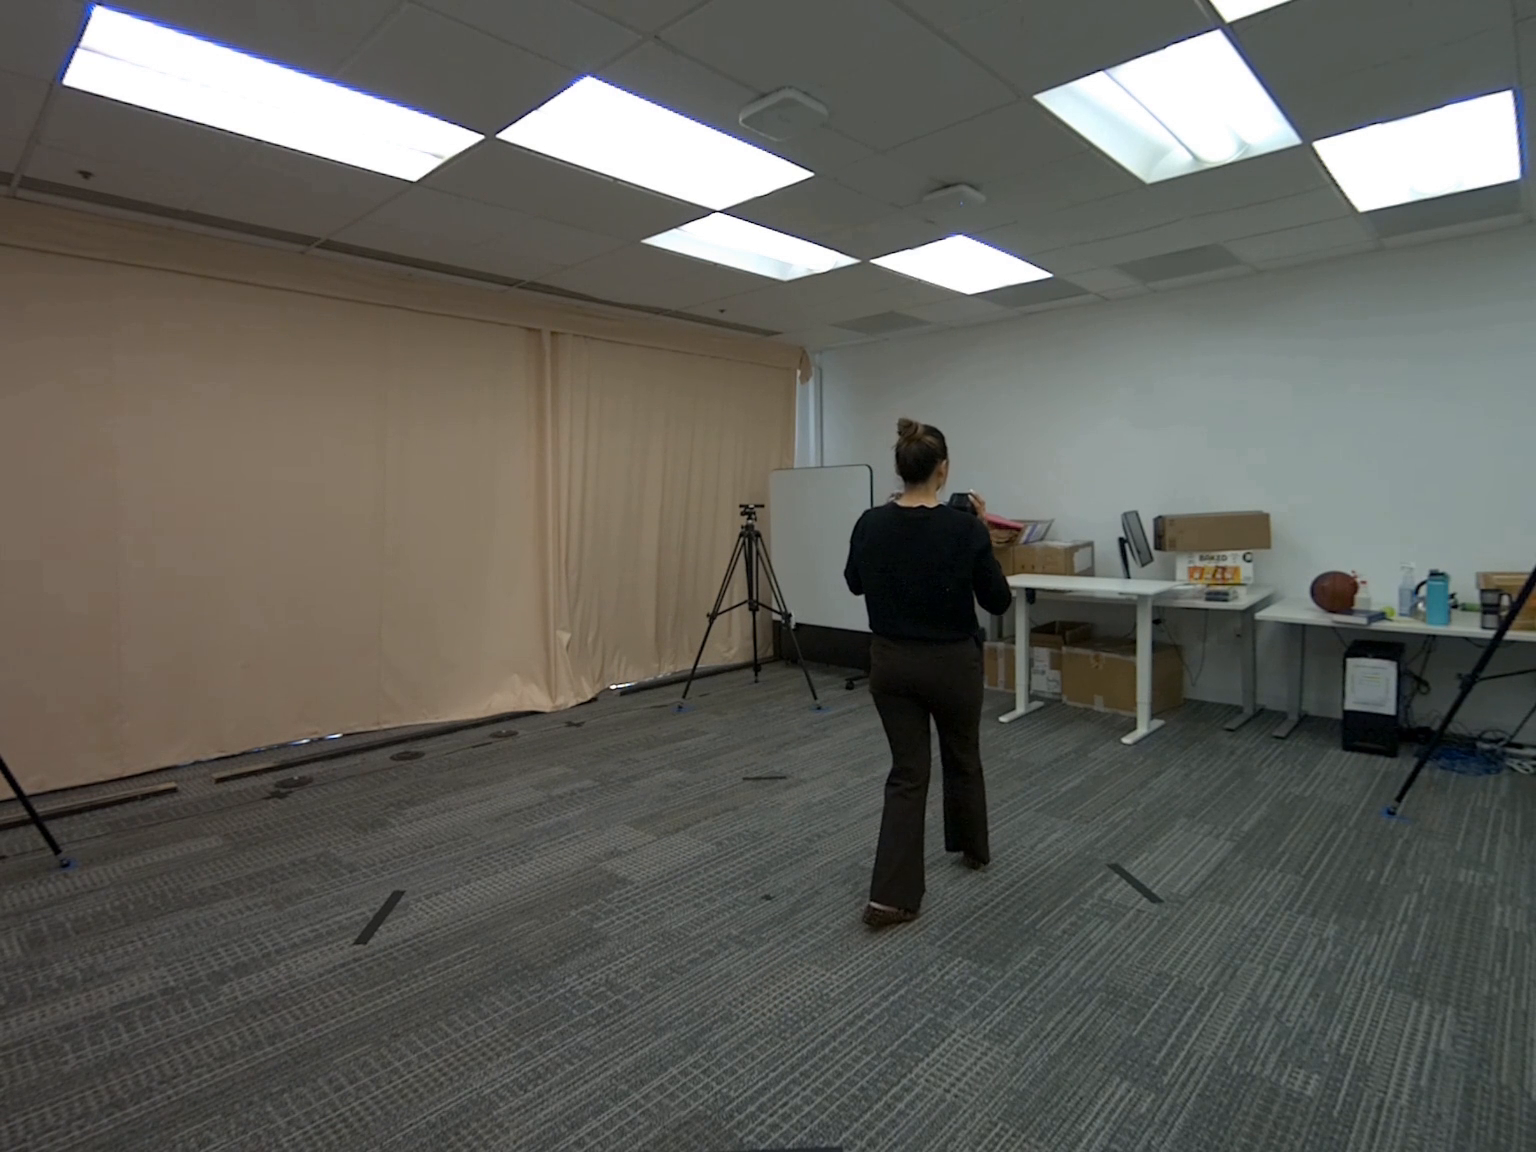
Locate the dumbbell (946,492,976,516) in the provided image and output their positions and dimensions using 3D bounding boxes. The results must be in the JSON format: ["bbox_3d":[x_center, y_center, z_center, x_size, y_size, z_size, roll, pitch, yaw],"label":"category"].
[{"bbox_3d":[0.602,-0.228,2.904,0.302,0.123,0.105,3,-37,30],"label":"dumbbell"}]
